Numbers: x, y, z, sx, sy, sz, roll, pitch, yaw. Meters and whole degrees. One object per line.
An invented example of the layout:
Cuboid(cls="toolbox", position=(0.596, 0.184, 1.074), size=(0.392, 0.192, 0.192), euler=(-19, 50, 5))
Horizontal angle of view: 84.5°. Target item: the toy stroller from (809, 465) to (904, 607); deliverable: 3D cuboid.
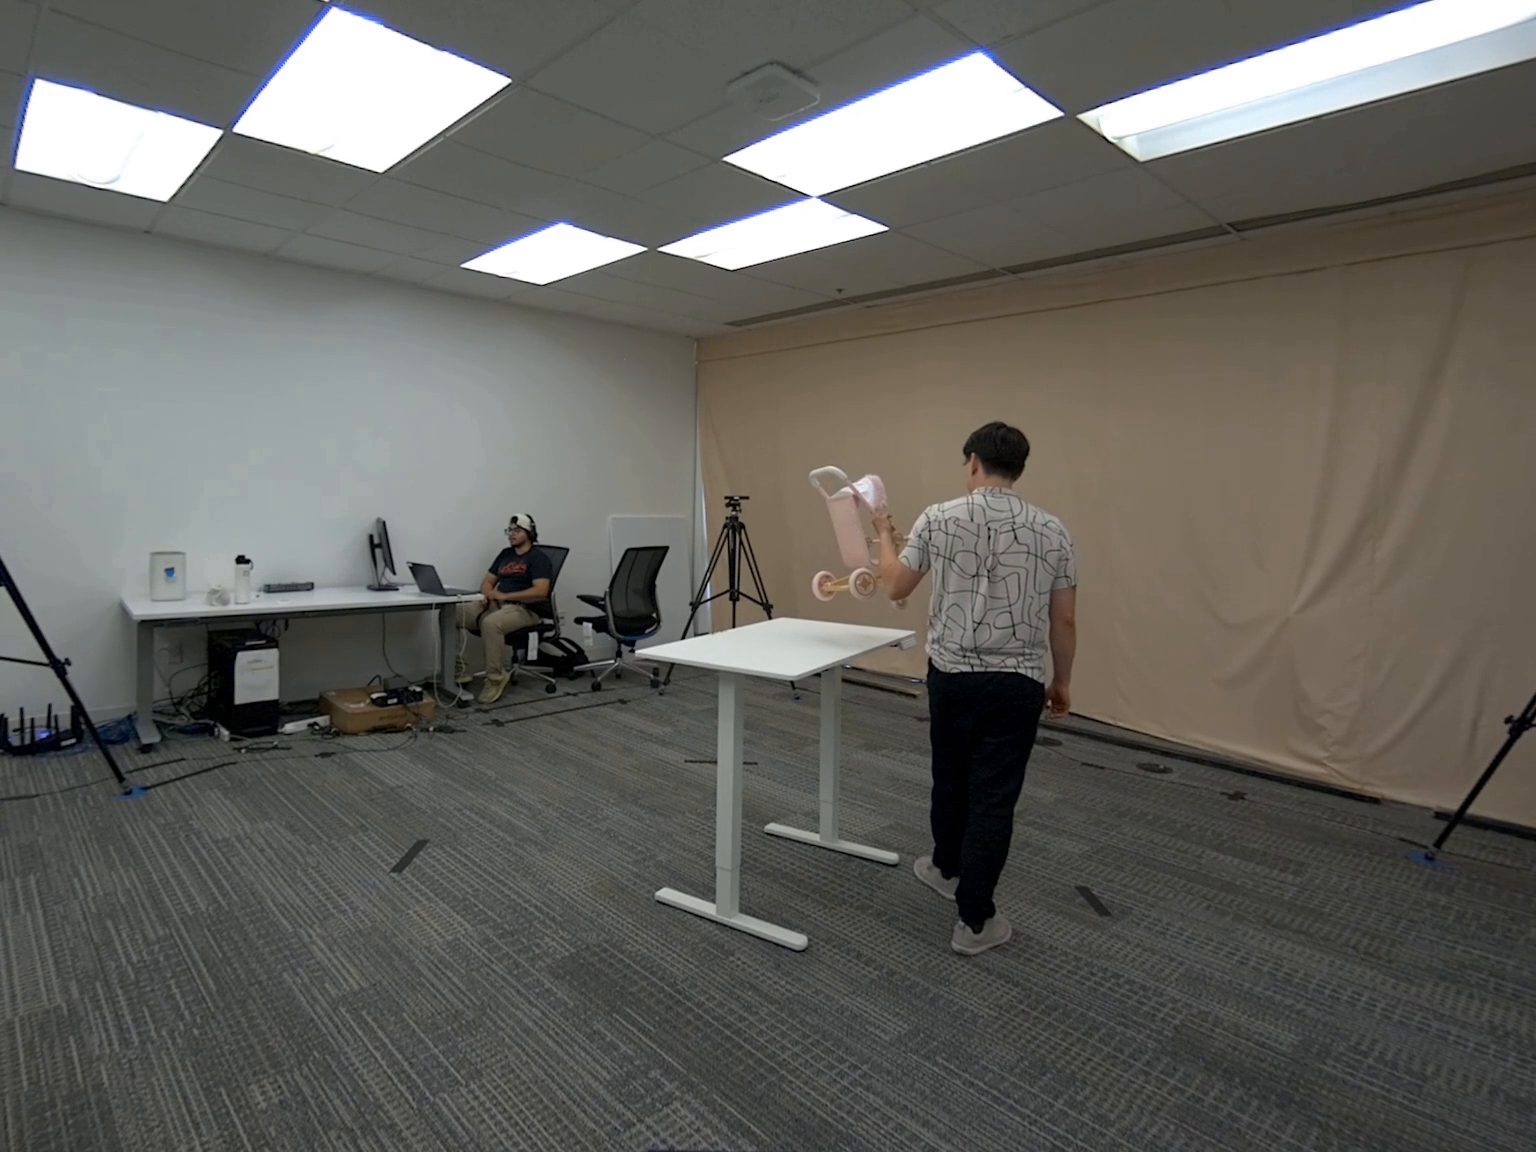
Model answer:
Cuboid(cls="toy stroller", position=(0.349, -0.133, 3.078), size=(0.336, 0.536, 0.285), euler=(-3, -3, -22))
